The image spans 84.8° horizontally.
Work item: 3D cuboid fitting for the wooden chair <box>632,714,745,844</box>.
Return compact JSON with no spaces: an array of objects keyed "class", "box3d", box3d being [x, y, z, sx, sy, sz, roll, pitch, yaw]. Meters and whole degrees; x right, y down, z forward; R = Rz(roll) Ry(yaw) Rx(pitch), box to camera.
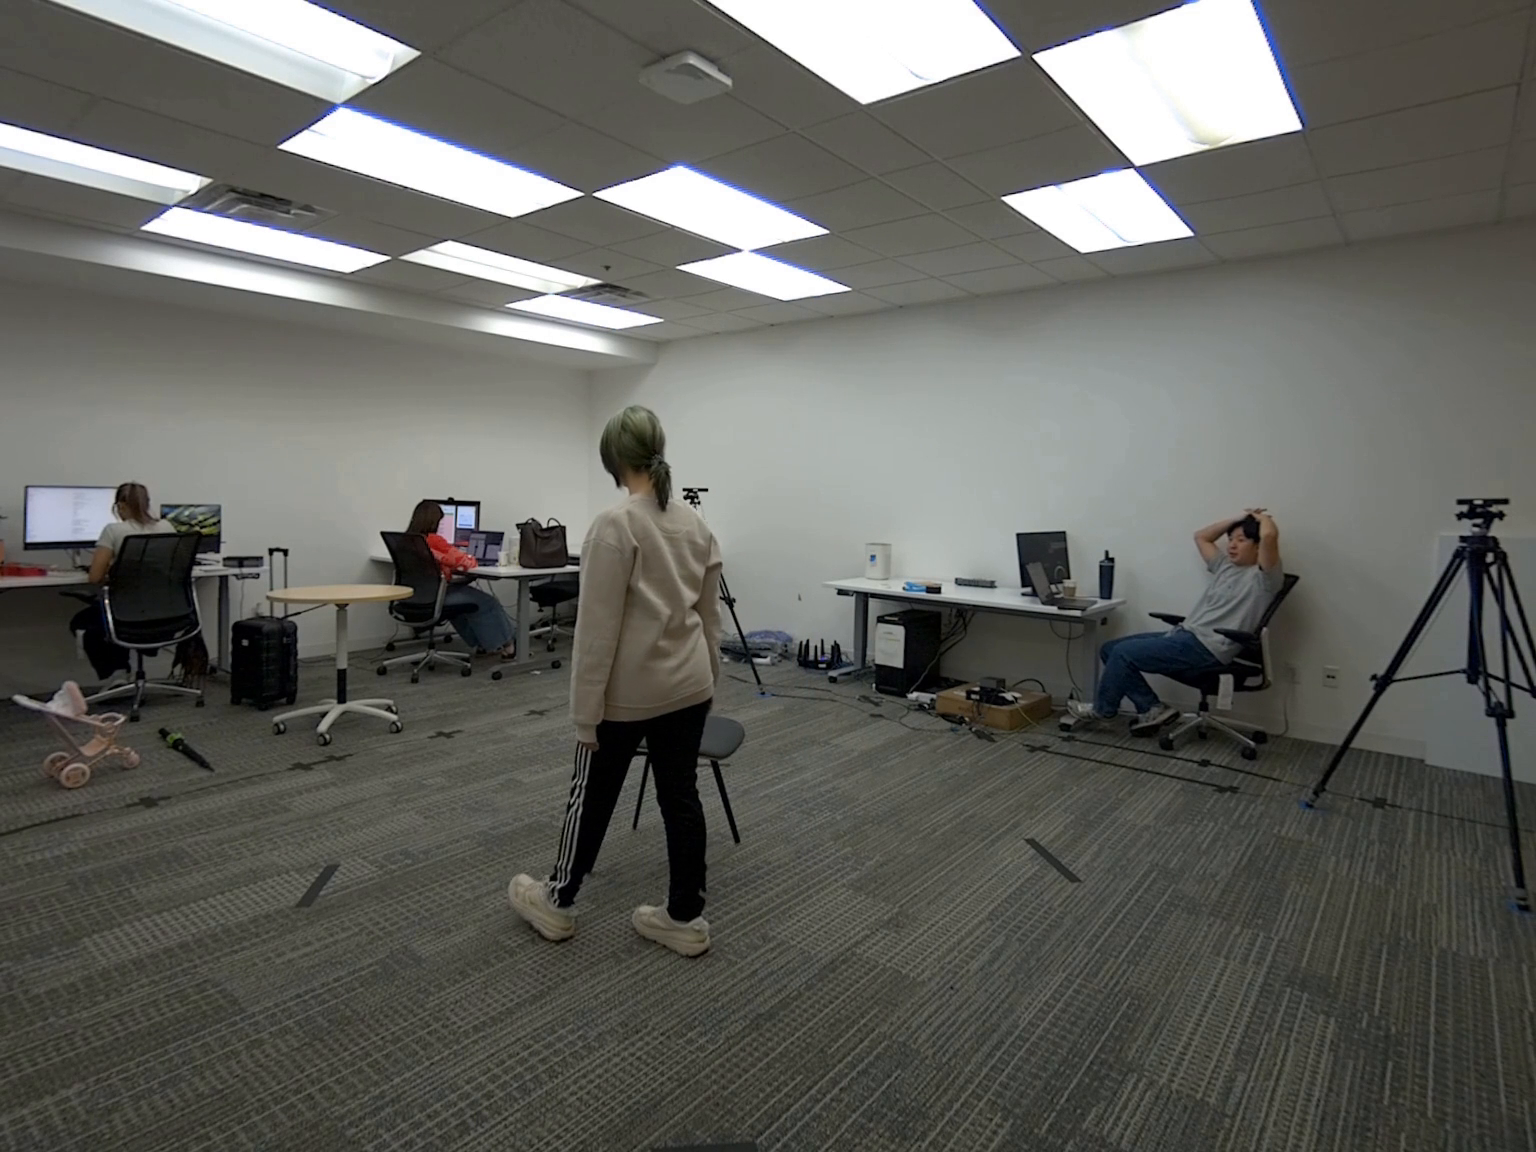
[{"class":"wooden chair","box3d":[-0.369,0.628,3.175,0.532,0.876,0.471,-2,2,16]}]
